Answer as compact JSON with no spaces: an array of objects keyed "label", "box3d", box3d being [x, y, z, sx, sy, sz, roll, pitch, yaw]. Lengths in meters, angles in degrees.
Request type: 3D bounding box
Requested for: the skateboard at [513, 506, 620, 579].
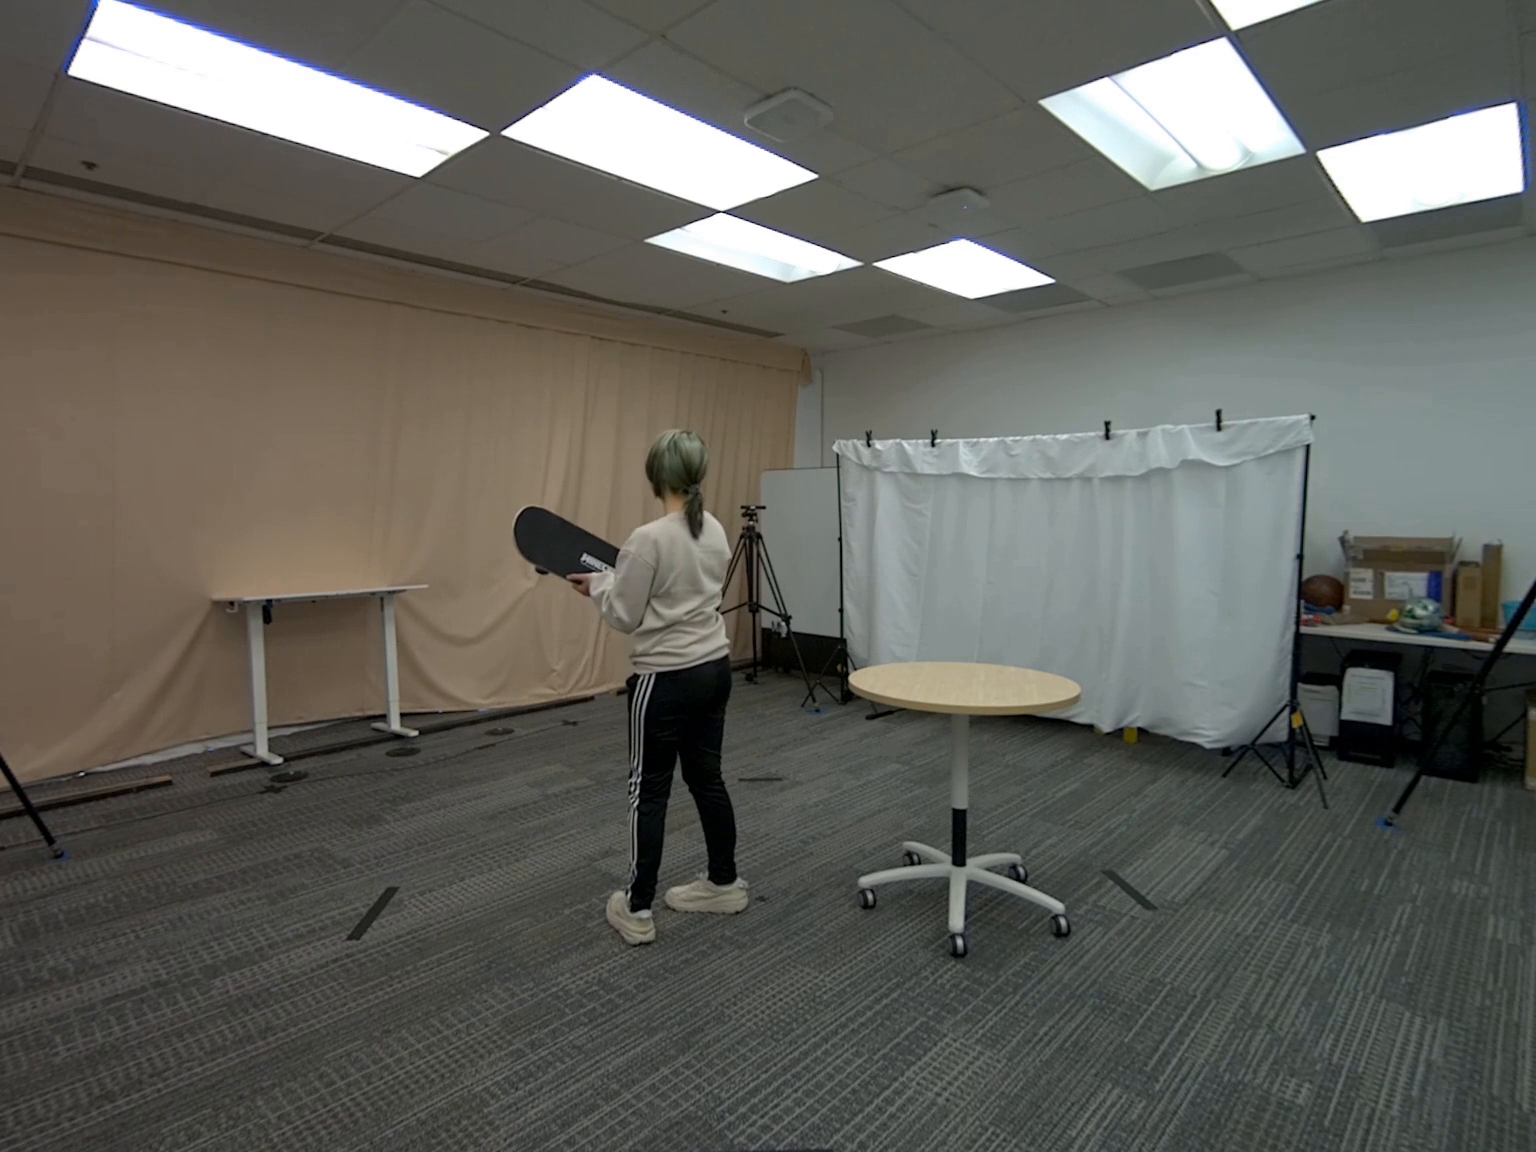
[{"label":"skateboard","box3d":[-0.595,-0.015,2.961,0.113,0.195,0.757,-12,-31,41]}]
